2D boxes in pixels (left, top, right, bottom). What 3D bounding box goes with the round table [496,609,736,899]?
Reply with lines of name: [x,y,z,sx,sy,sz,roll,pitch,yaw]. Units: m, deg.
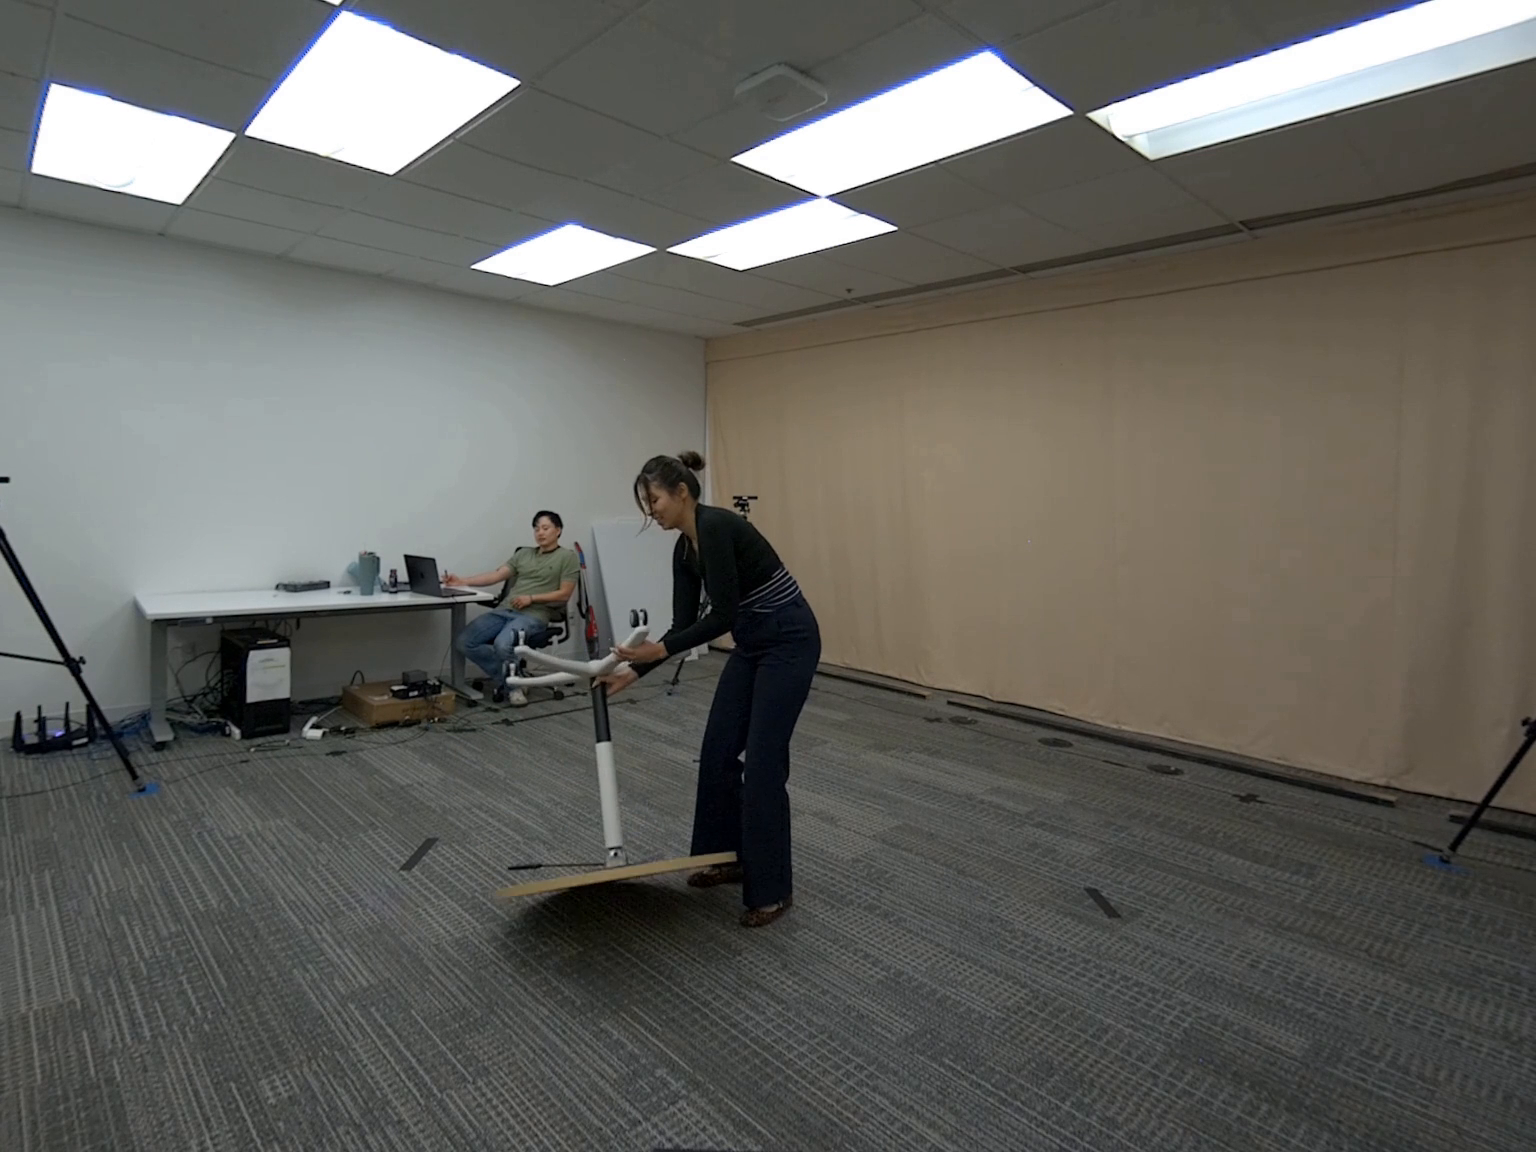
round table: [-0.554,0.608,2.811,0.762,0.807,0.753,-9,-19,-4]
